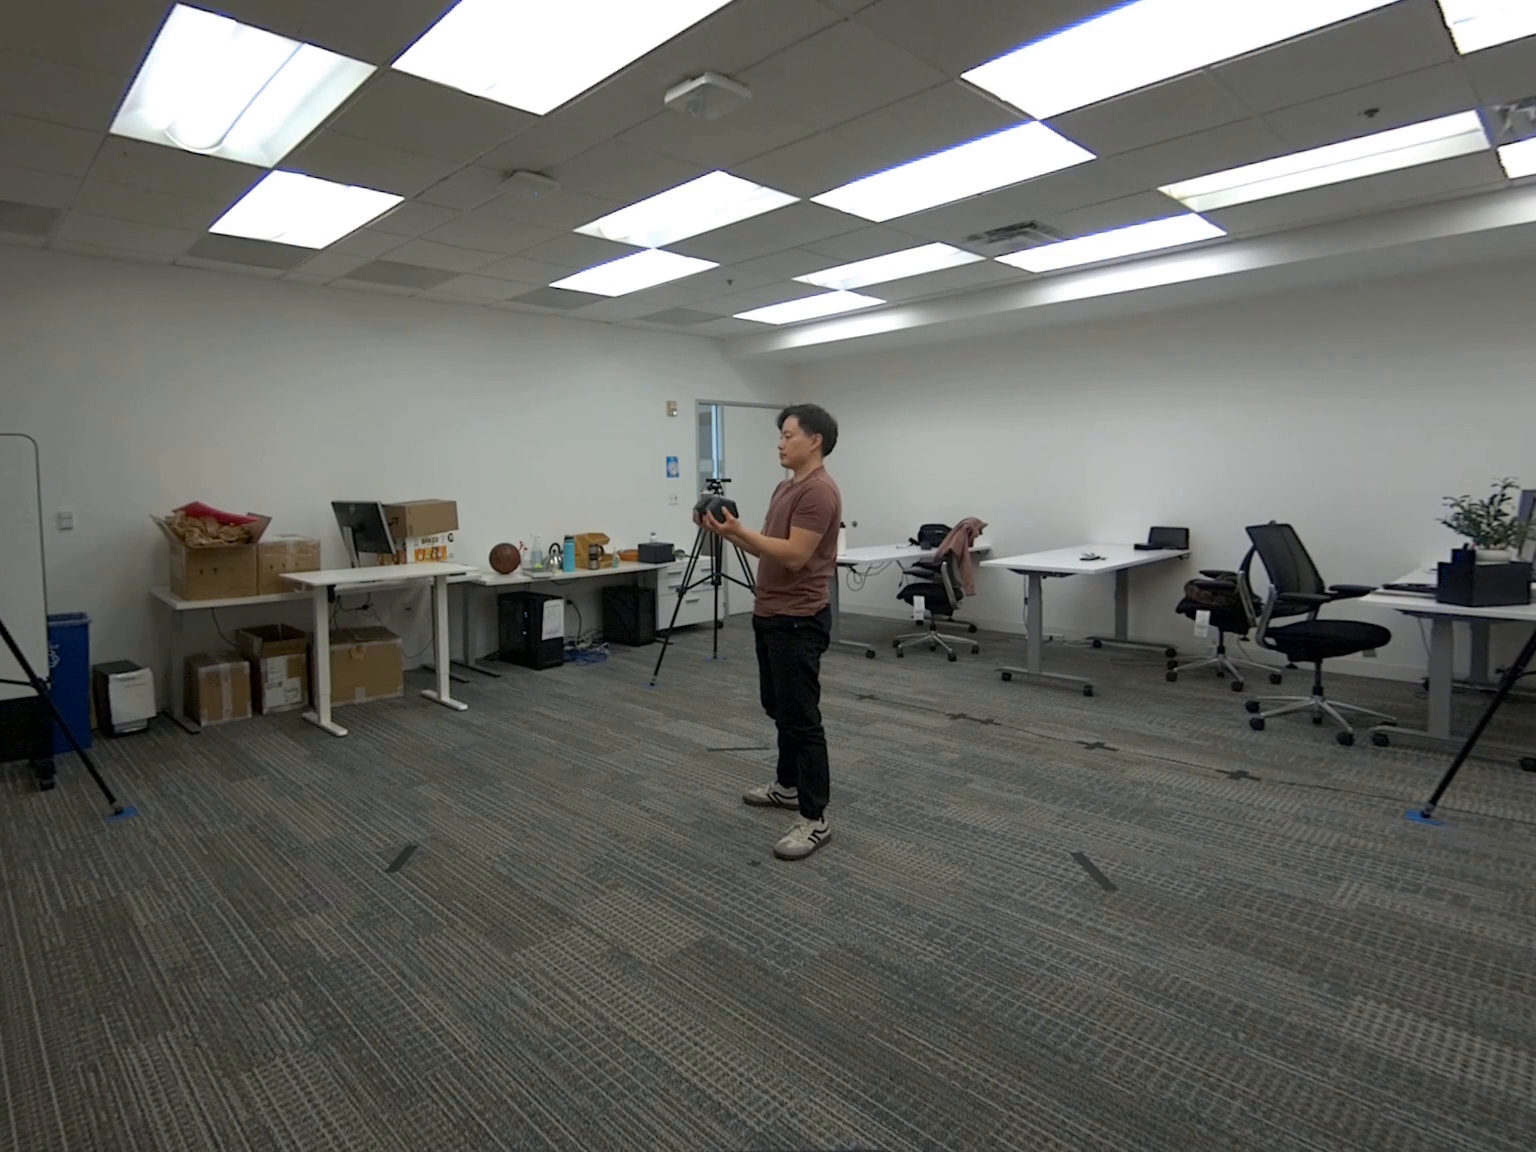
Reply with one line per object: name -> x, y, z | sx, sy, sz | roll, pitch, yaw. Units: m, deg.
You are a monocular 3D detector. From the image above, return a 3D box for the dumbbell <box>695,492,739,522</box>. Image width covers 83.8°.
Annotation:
dumbbell -> -0.187, -0.248, 3.319 | 0.121, 0.108, 0.300 | 11, 6, -17
